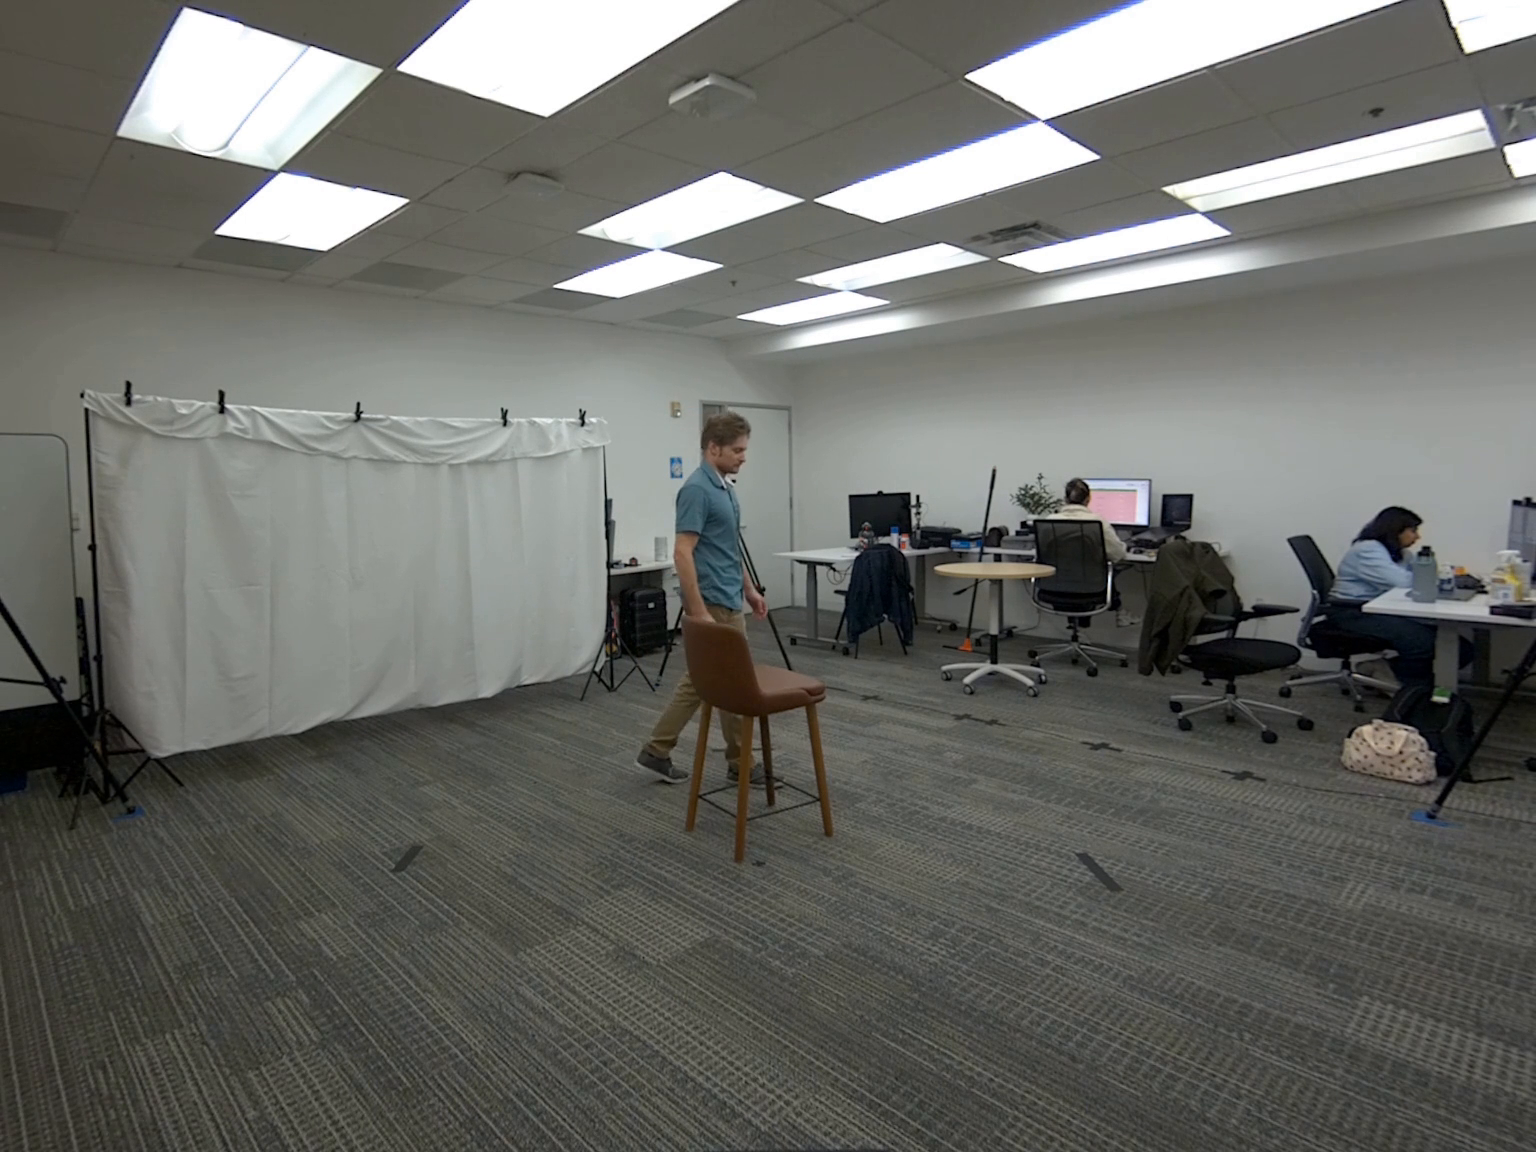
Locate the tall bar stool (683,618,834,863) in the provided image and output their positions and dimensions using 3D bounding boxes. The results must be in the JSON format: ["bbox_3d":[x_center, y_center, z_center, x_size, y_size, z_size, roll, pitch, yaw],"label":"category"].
[{"bbox_3d":[-0.050,0.586,3.362,0.456,0.885,0.470,-6,6,-35],"label":"tall bar stool"}]
